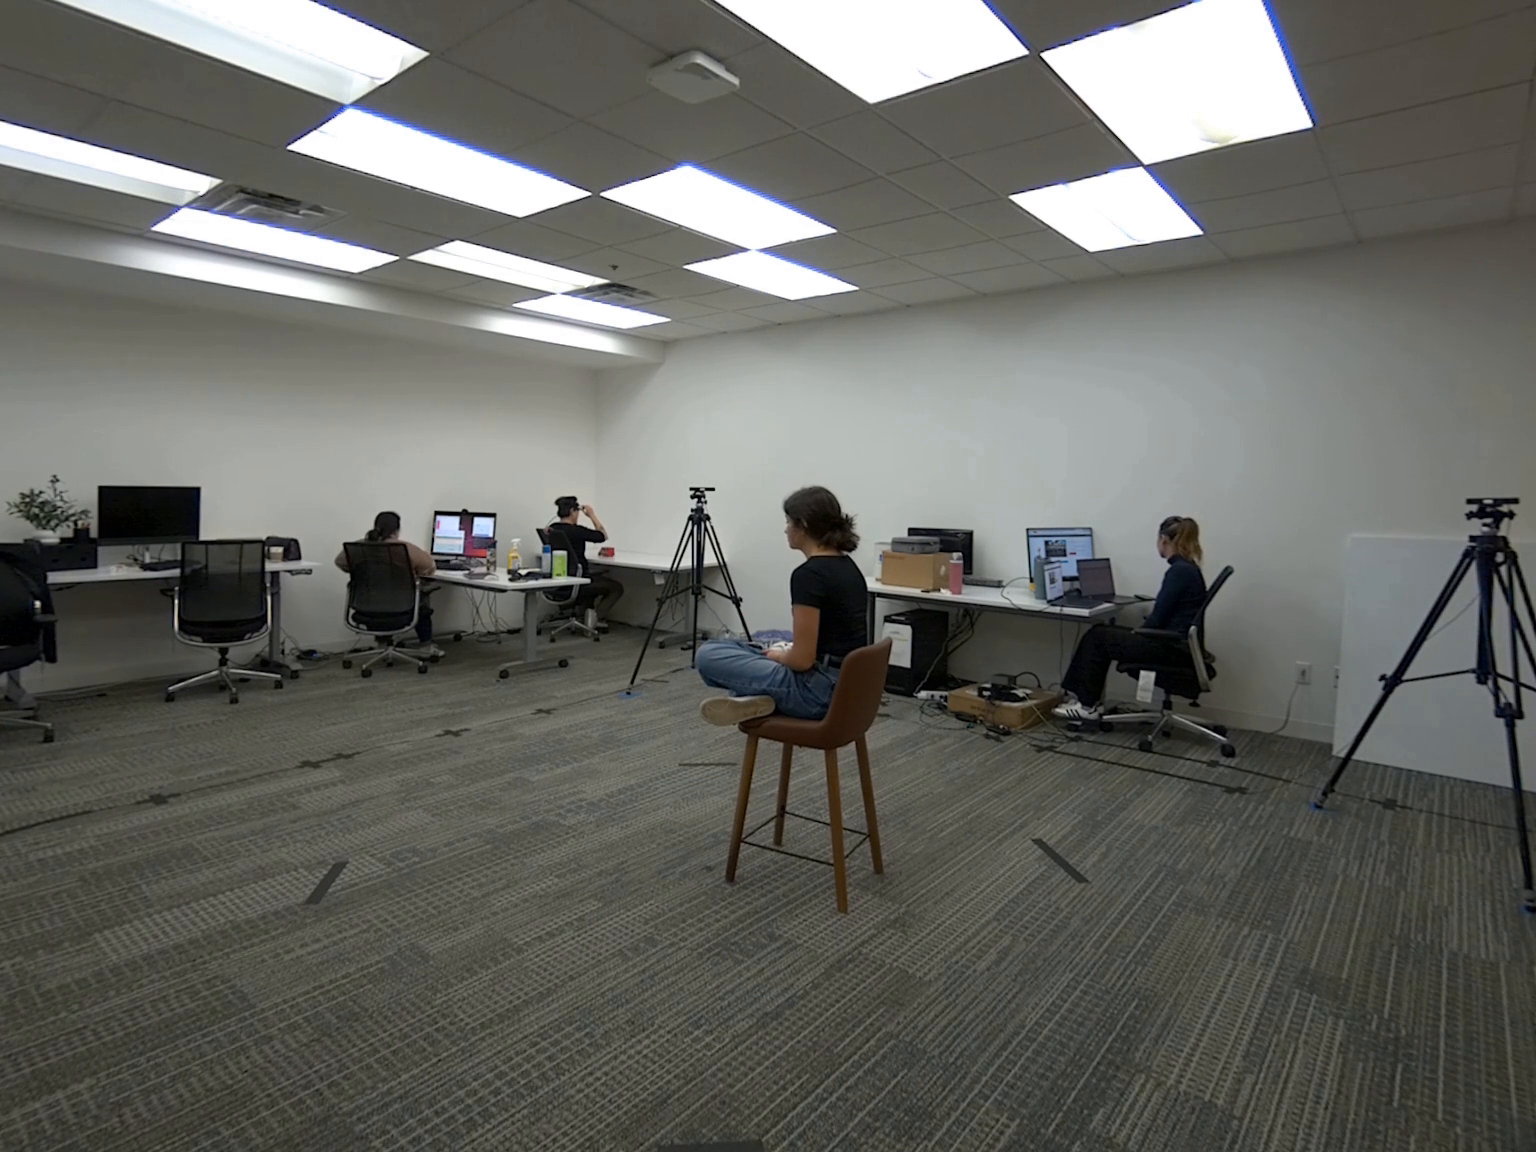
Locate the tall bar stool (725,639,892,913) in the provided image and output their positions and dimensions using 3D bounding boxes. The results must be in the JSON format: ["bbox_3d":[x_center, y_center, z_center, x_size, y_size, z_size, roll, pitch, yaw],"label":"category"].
[{"bbox_3d":[0.152,0.647,3.042,0.482,0.886,0.445,5,5,29],"label":"tall bar stool"}]
